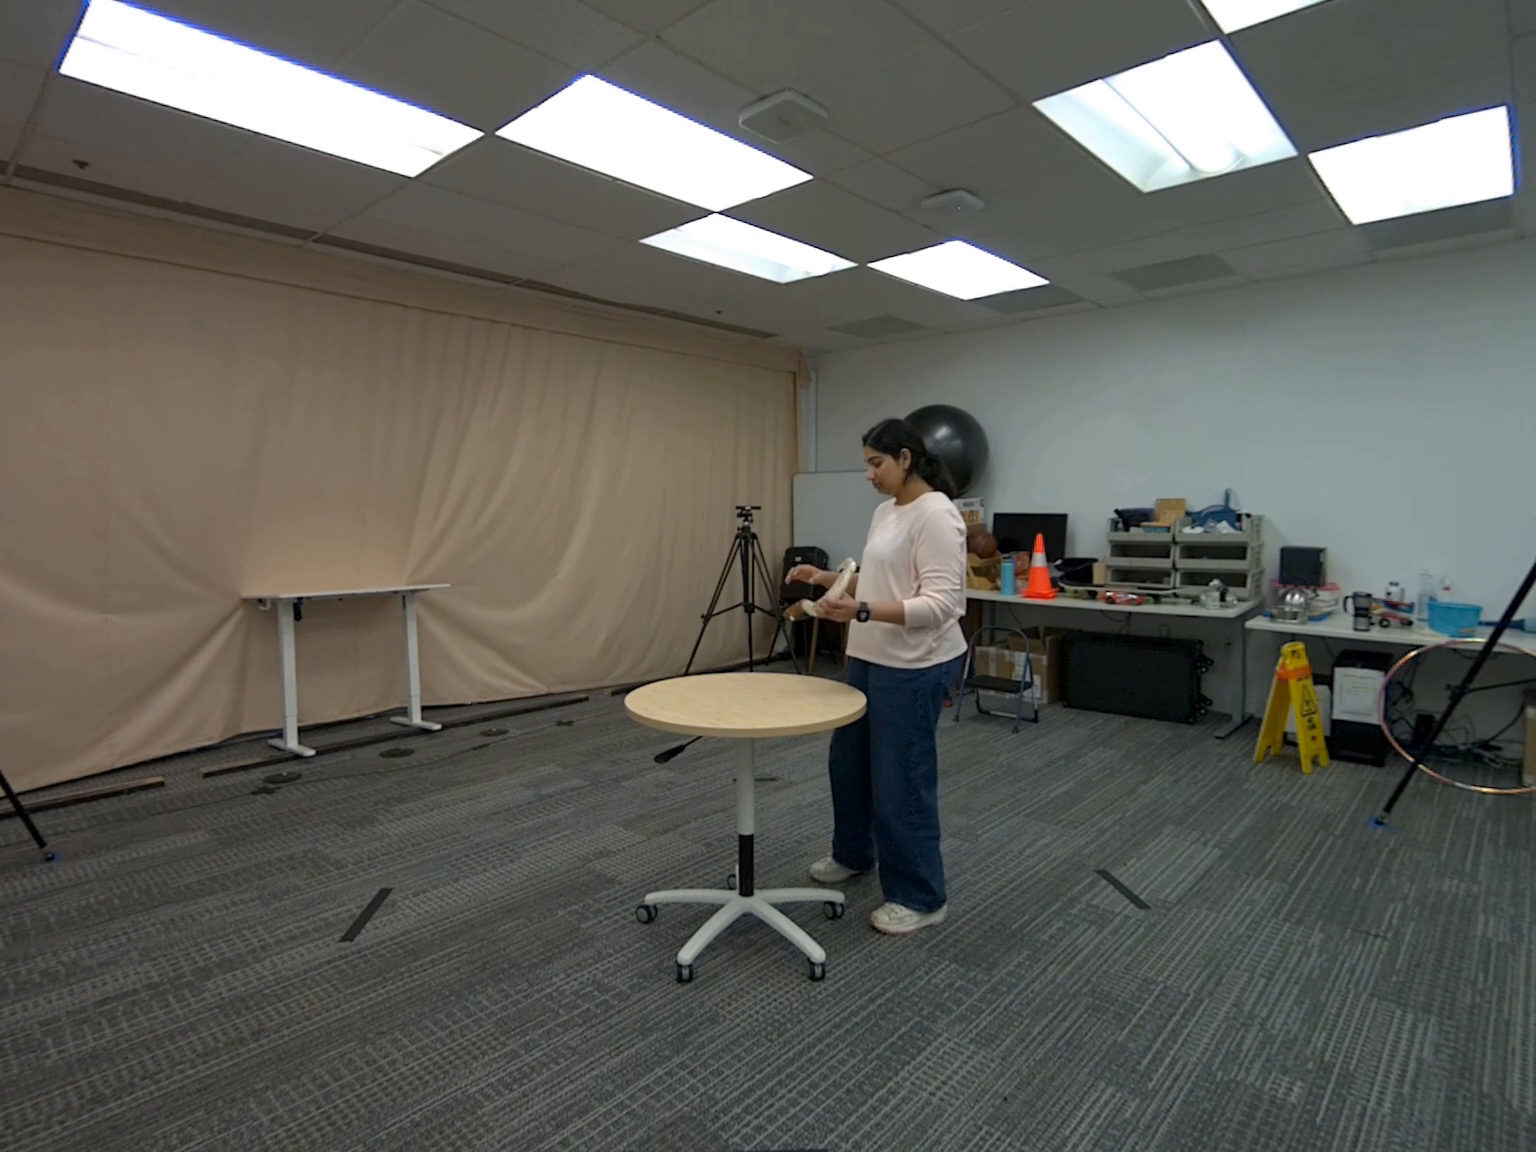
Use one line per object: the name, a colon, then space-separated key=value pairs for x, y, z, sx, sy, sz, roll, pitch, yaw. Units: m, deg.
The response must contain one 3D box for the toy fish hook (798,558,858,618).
toy fish hook: x=0.173 y=0.052 z=2.789 sx=0.048 sy=0.224 sz=0.511 roll=39 pitch=-17 yaw=-7
